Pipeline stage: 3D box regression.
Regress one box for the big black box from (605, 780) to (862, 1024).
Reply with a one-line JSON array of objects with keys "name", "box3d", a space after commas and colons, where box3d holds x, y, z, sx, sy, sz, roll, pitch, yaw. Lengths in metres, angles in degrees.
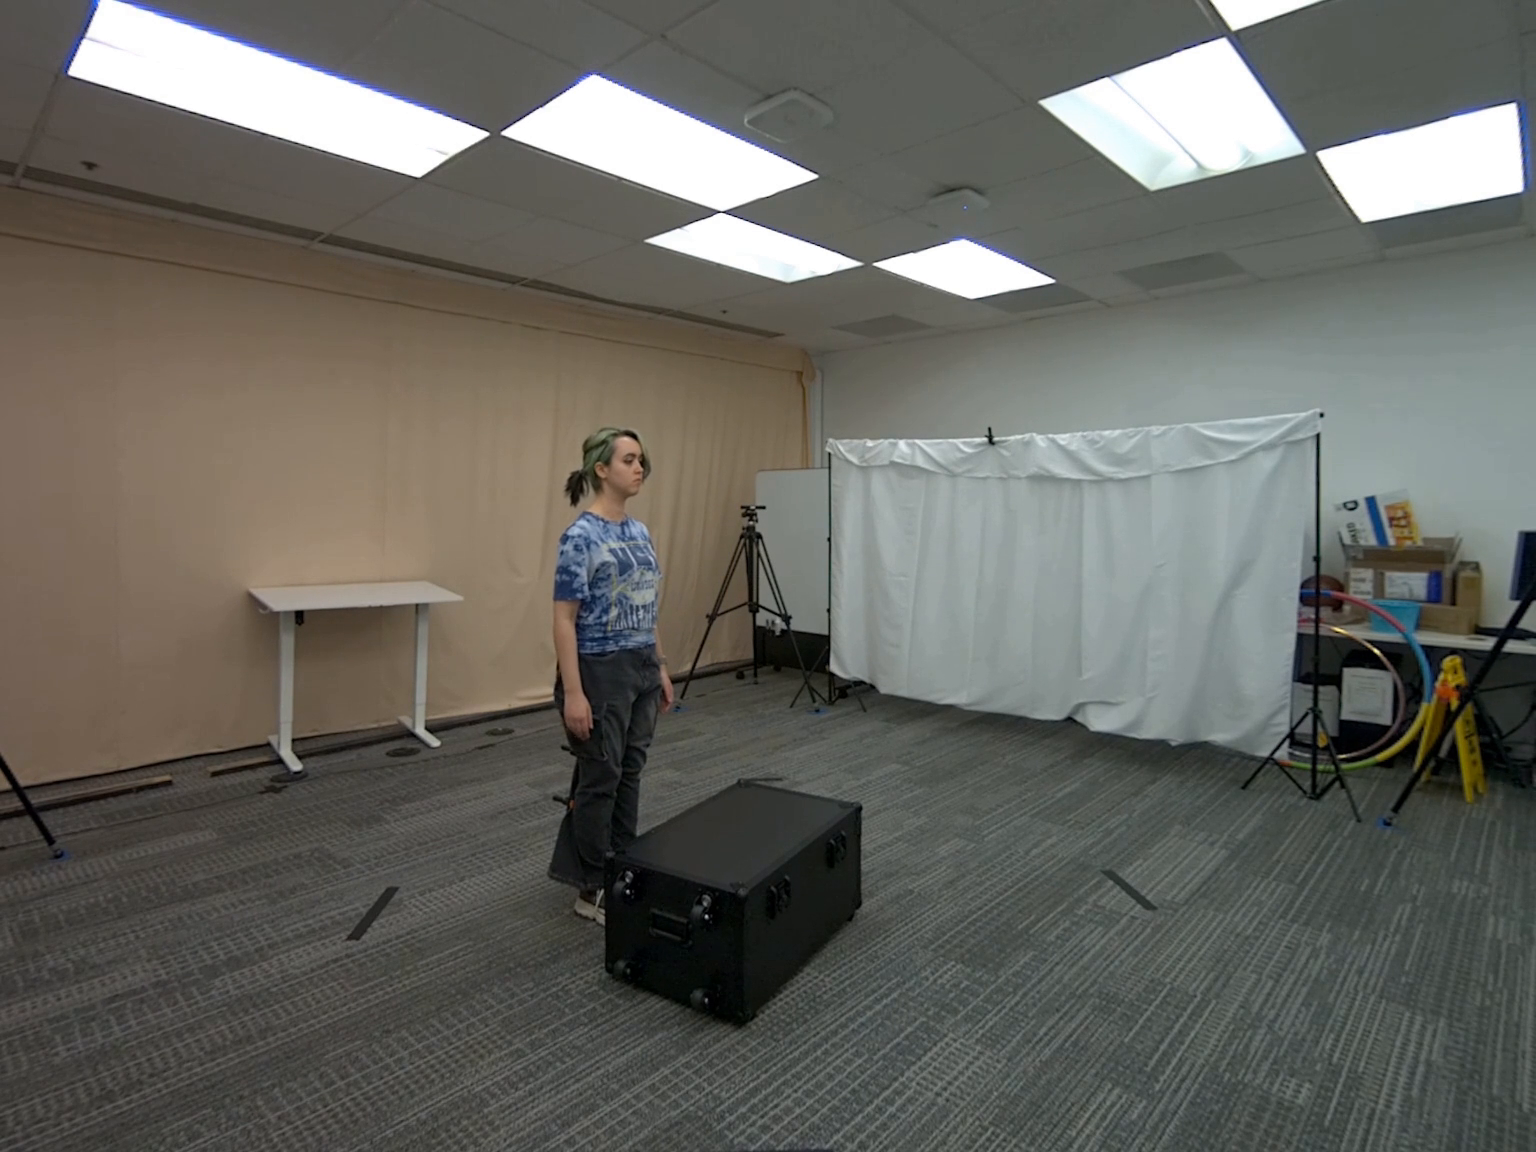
[{"name": "big black box", "box3d": [-0.095, 0.983, 2.638, 0.537, 0.395, 0.838, 2, 4, 31]}]
